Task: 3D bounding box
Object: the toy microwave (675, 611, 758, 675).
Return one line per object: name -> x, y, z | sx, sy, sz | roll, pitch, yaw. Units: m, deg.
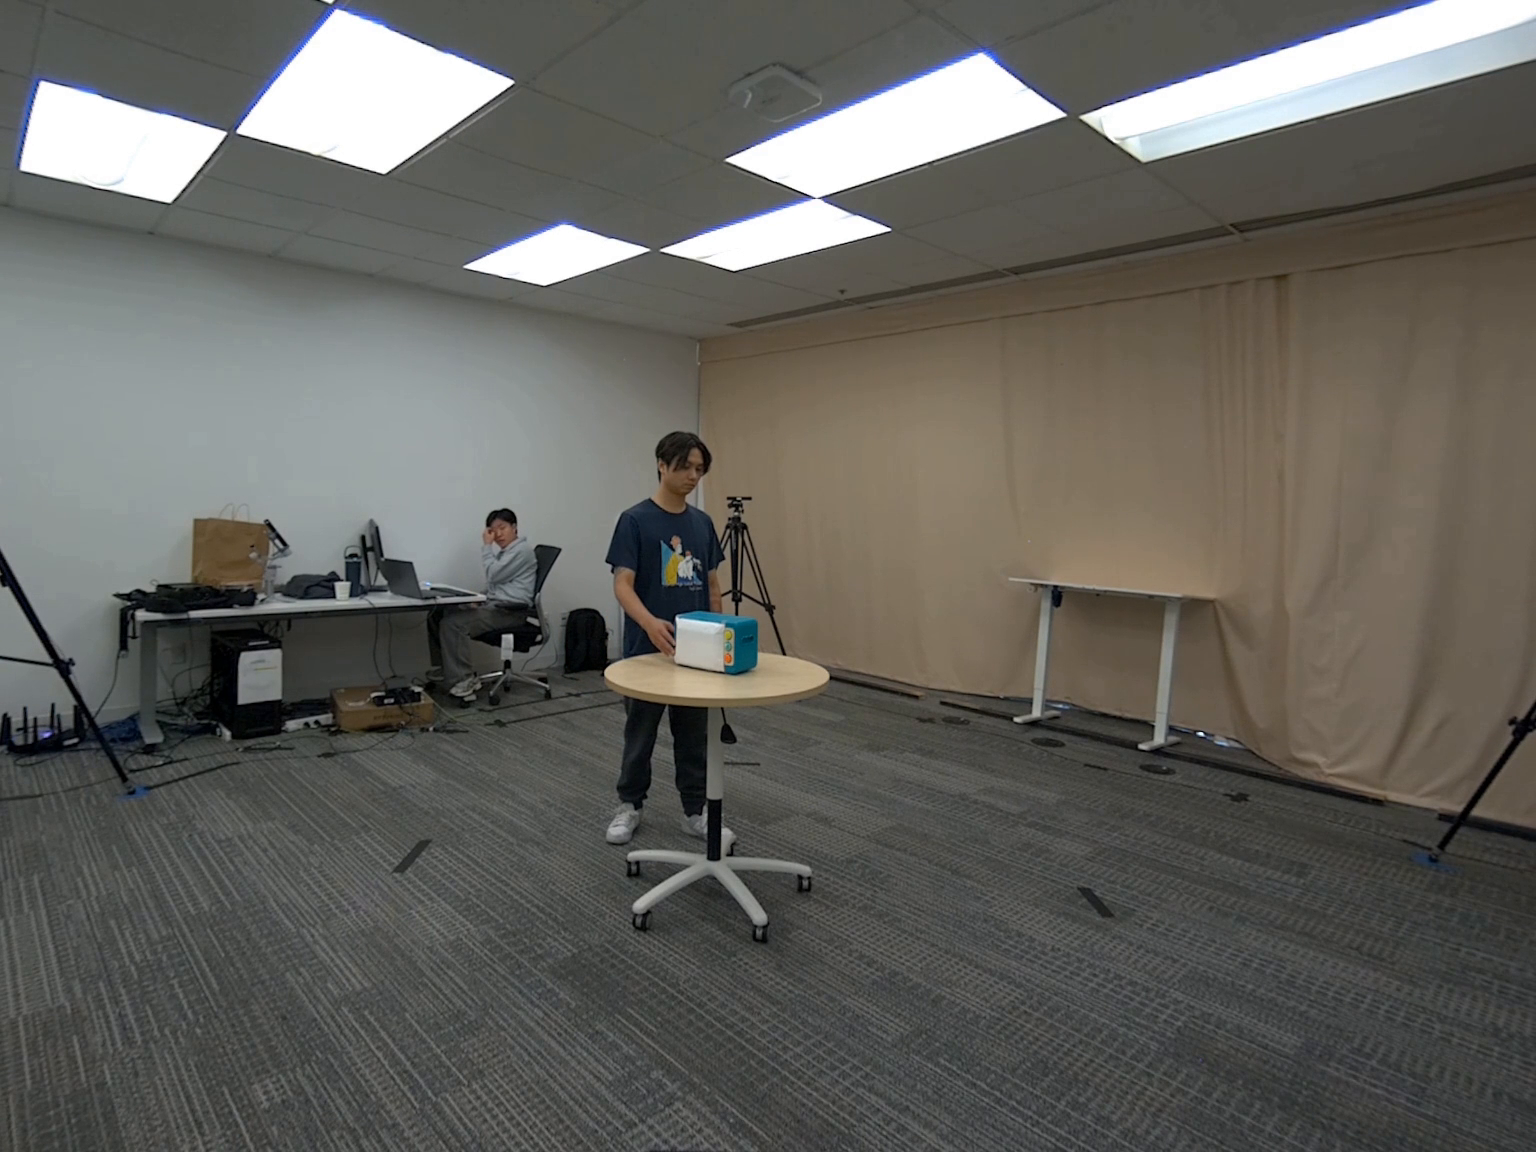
toy microwave -> -0.190, 0.236, 2.911 | 0.292, 0.183, 0.149 | 3, 6, 32
